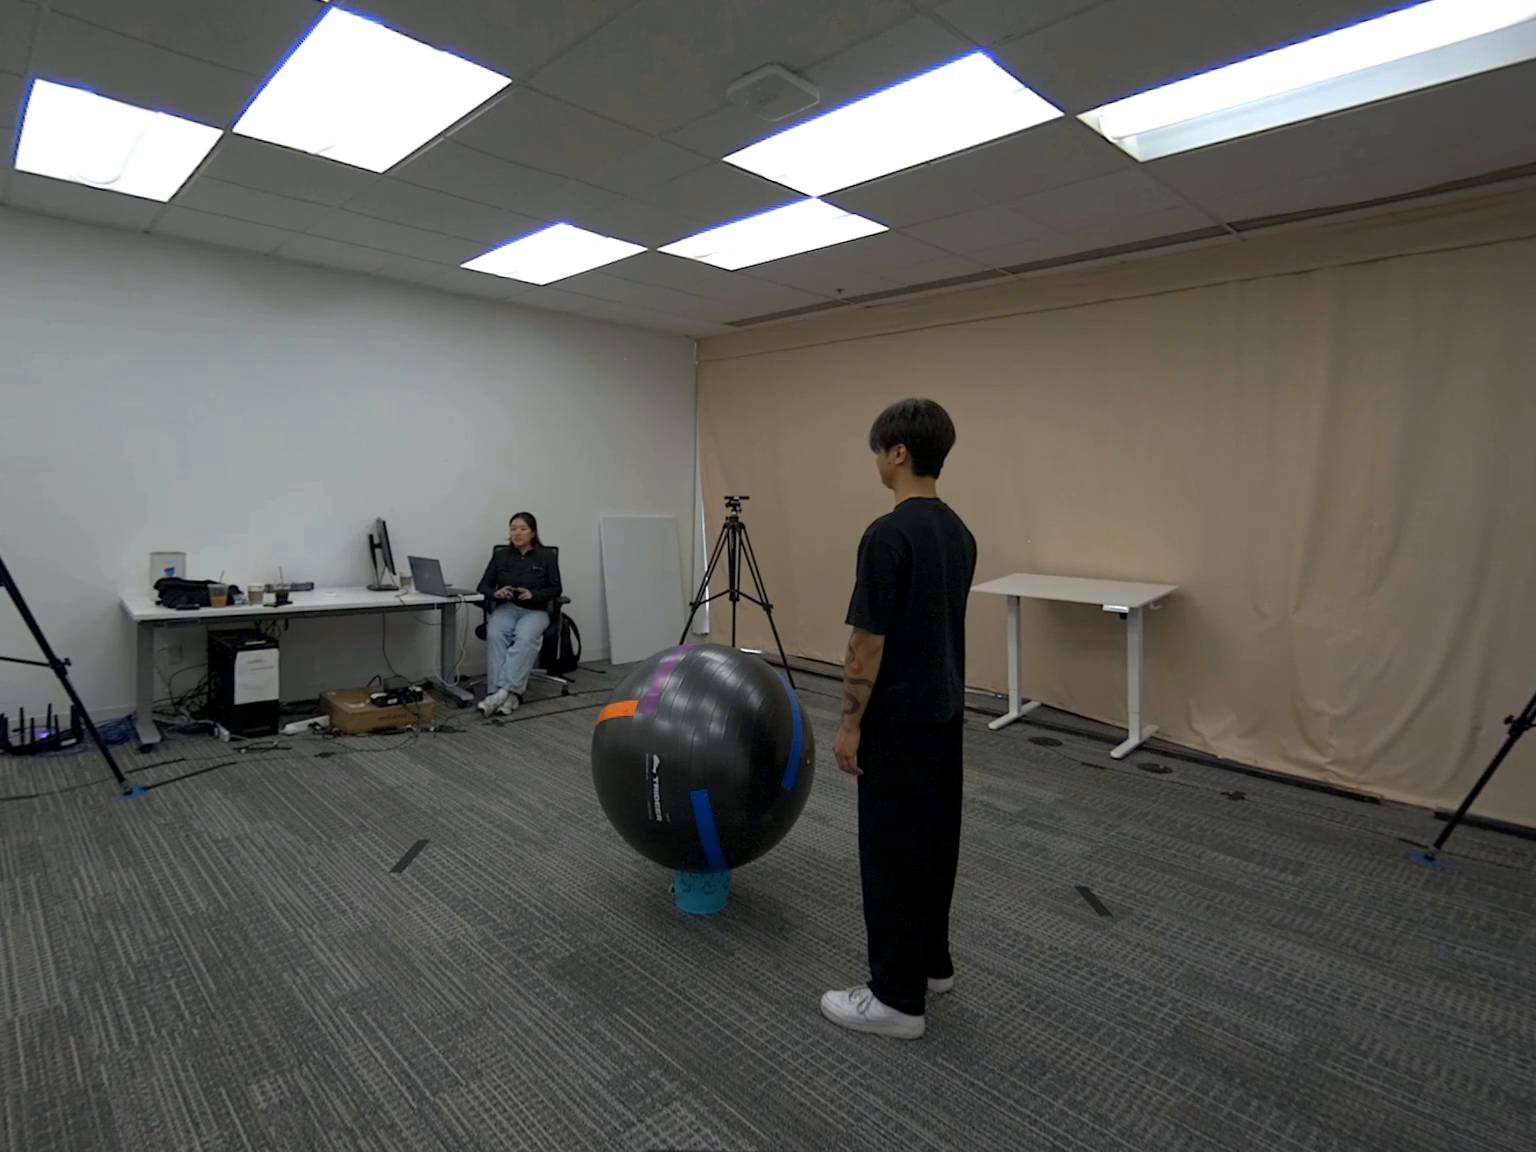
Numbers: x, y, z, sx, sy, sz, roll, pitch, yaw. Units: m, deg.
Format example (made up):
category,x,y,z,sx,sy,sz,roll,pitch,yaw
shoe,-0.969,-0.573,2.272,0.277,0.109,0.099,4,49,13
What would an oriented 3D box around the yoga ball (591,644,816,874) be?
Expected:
category,x,y,z,sx,sy,sz,roll,pitch,yaw
yoga ball,-0.228,0.612,2.873,0.757,0.756,0.761,1,4,-1
